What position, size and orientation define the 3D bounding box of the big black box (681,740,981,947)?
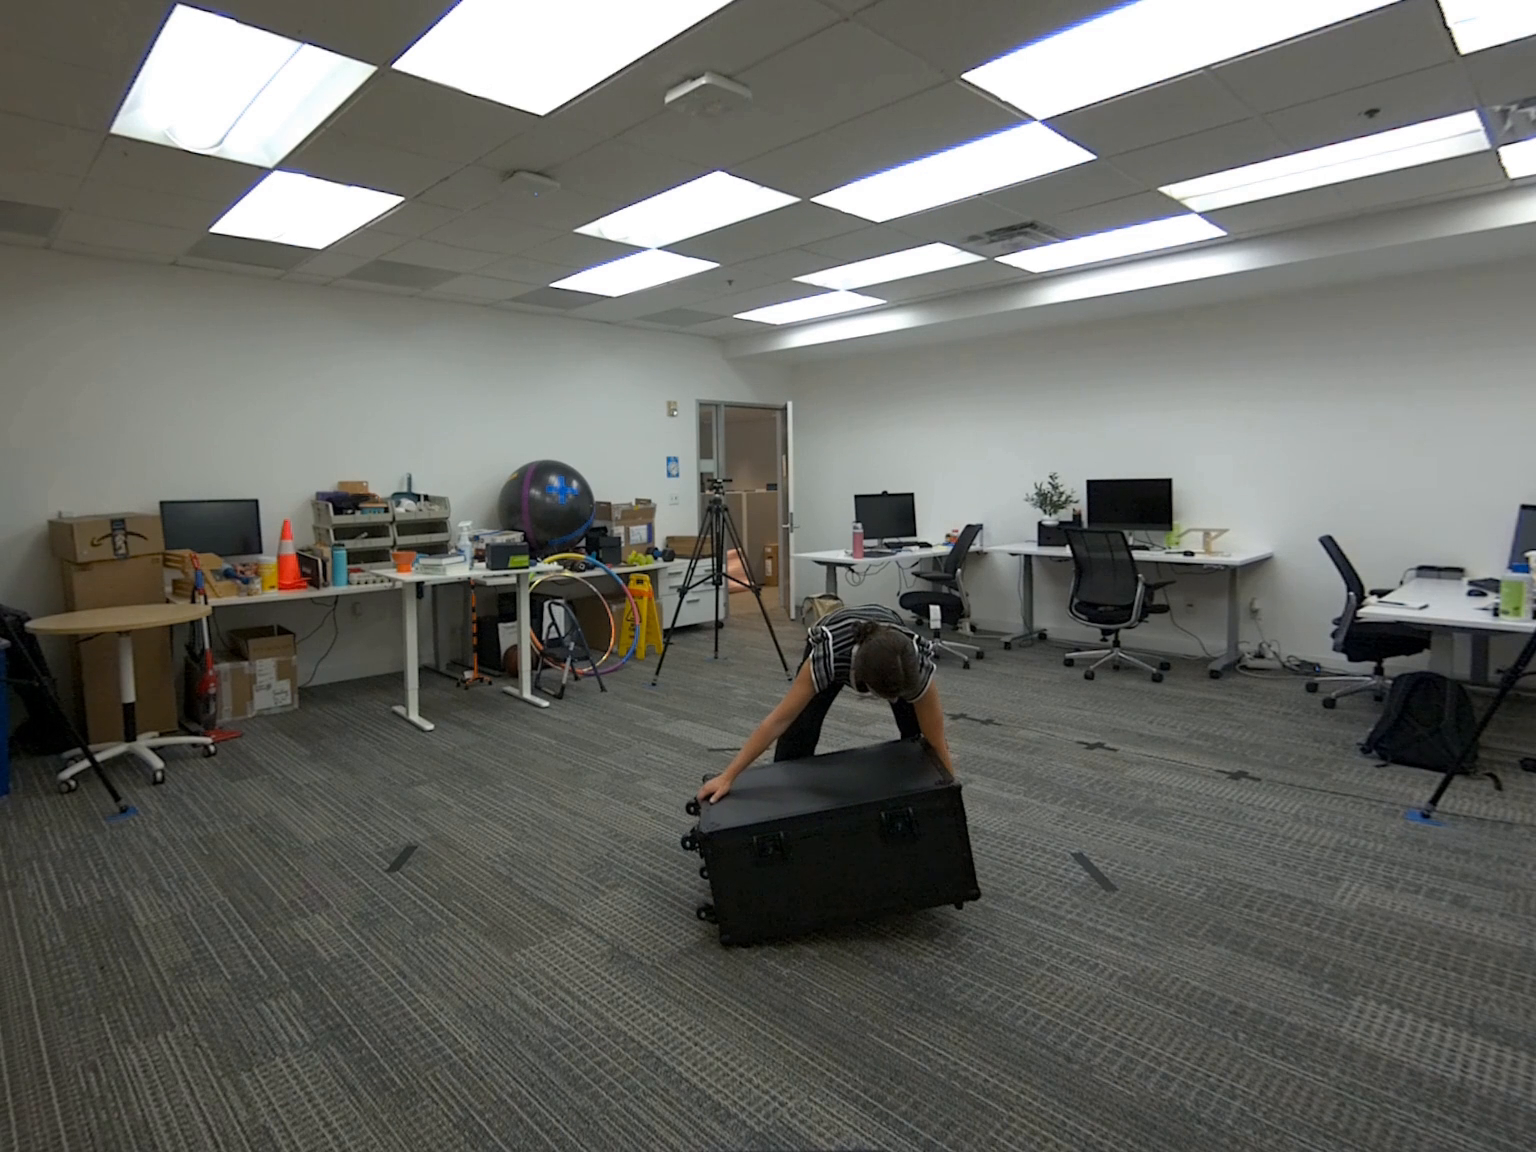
[{"bbox_3d":[0.169,0.842,2.744,0.862,0.394,0.524,-10,6,0],"label":"big black box"}]
